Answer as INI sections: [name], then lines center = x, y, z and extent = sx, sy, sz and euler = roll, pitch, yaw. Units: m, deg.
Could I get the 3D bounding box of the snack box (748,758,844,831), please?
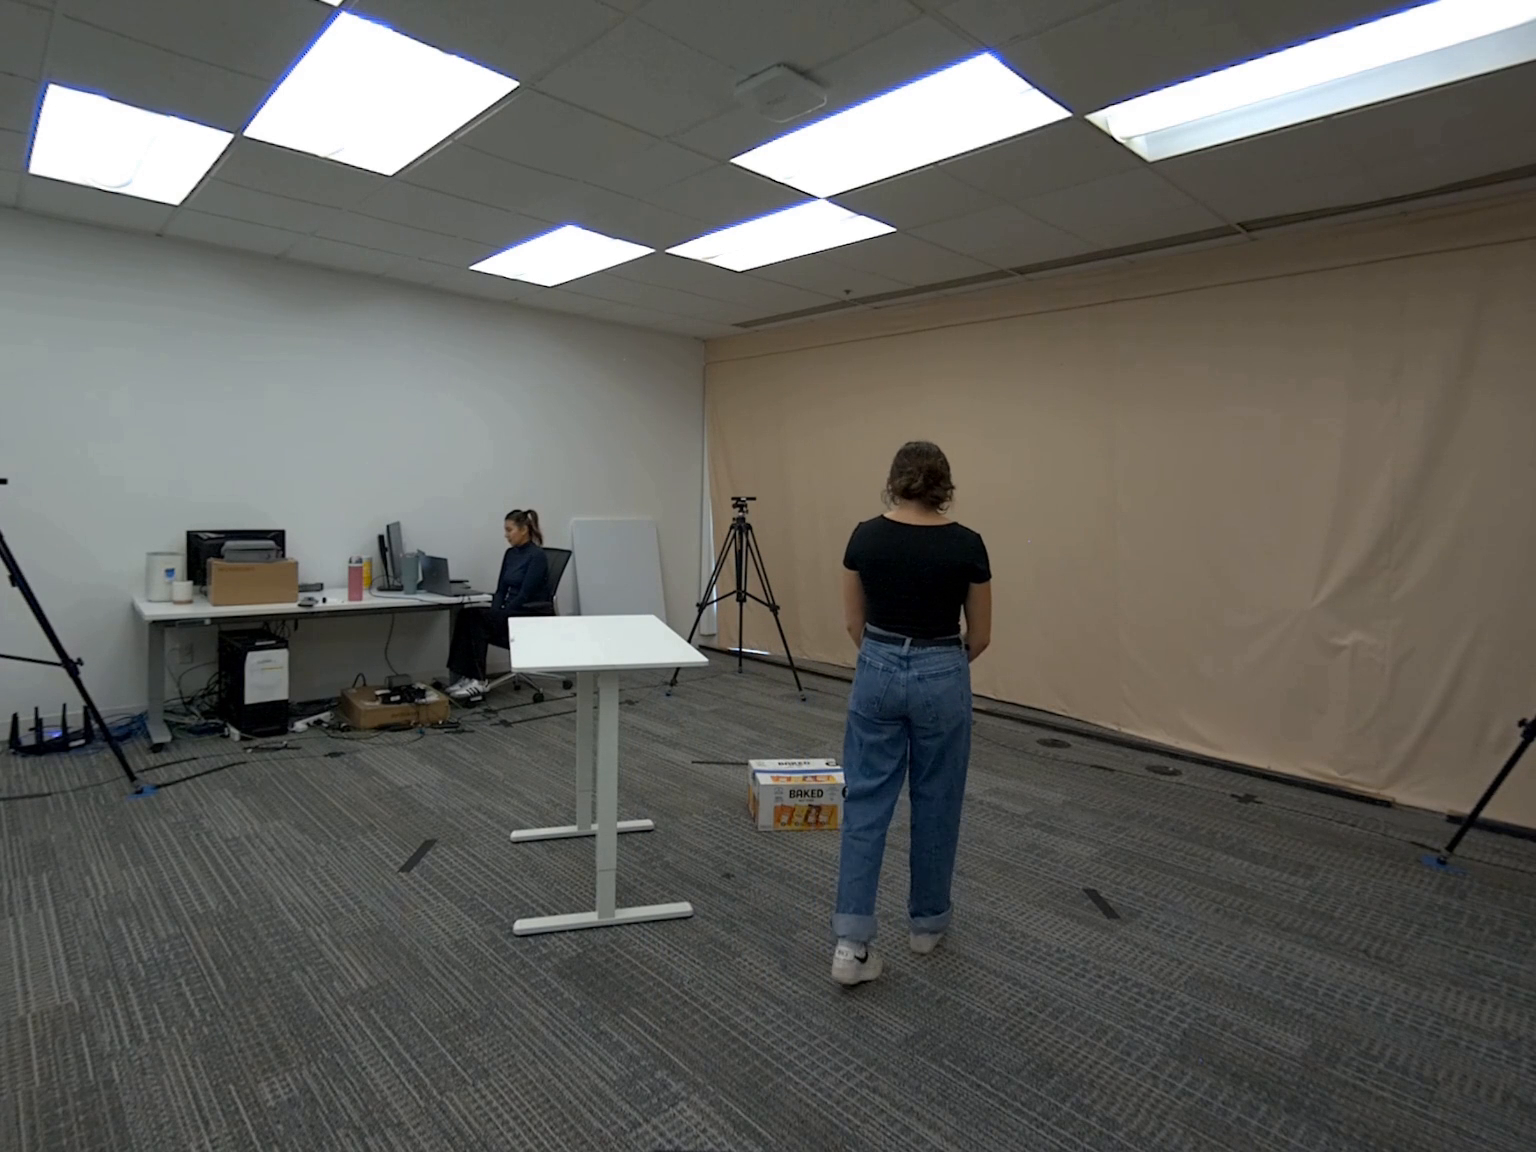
[snack box]
center = 0.124, 0.959, 3.718
extent = 0.402, 0.205, 0.343
euler = 1, 4, -8
